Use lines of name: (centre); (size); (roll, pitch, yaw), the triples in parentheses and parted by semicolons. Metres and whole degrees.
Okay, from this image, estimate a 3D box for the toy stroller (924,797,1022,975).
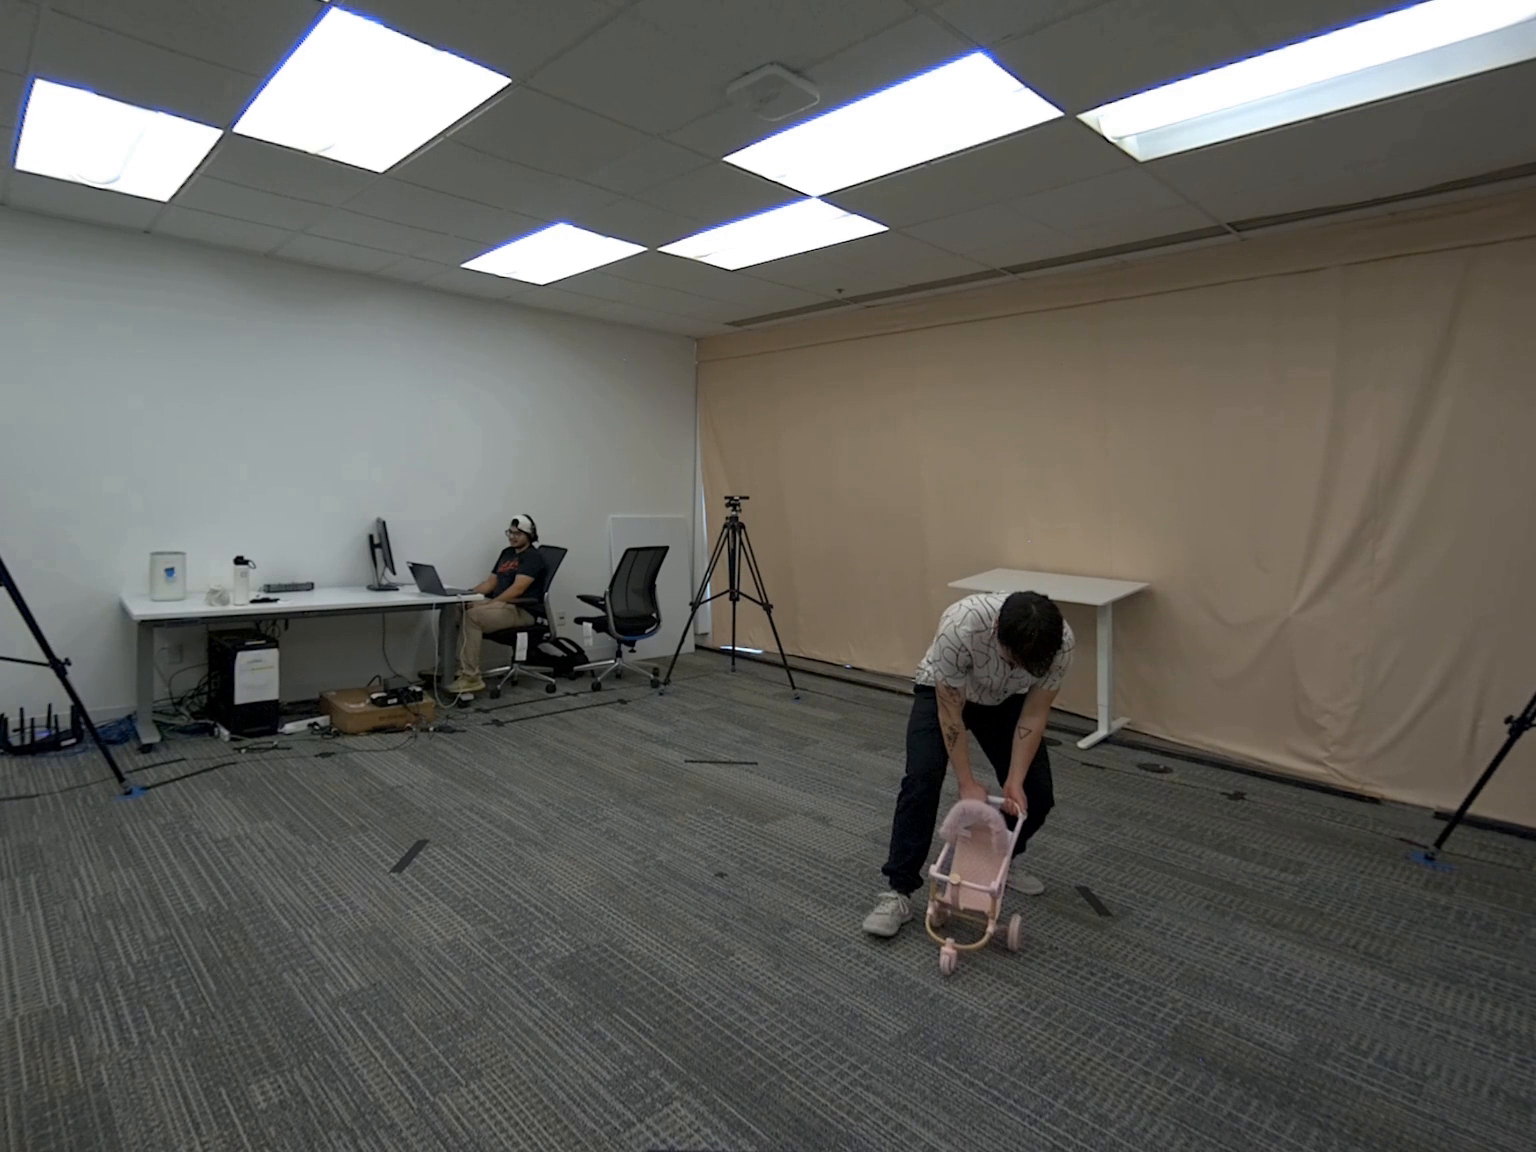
toy stroller: (0.634, 0.945, 2.641); (0.288, 0.538, 0.331); (3, -14, 36)
